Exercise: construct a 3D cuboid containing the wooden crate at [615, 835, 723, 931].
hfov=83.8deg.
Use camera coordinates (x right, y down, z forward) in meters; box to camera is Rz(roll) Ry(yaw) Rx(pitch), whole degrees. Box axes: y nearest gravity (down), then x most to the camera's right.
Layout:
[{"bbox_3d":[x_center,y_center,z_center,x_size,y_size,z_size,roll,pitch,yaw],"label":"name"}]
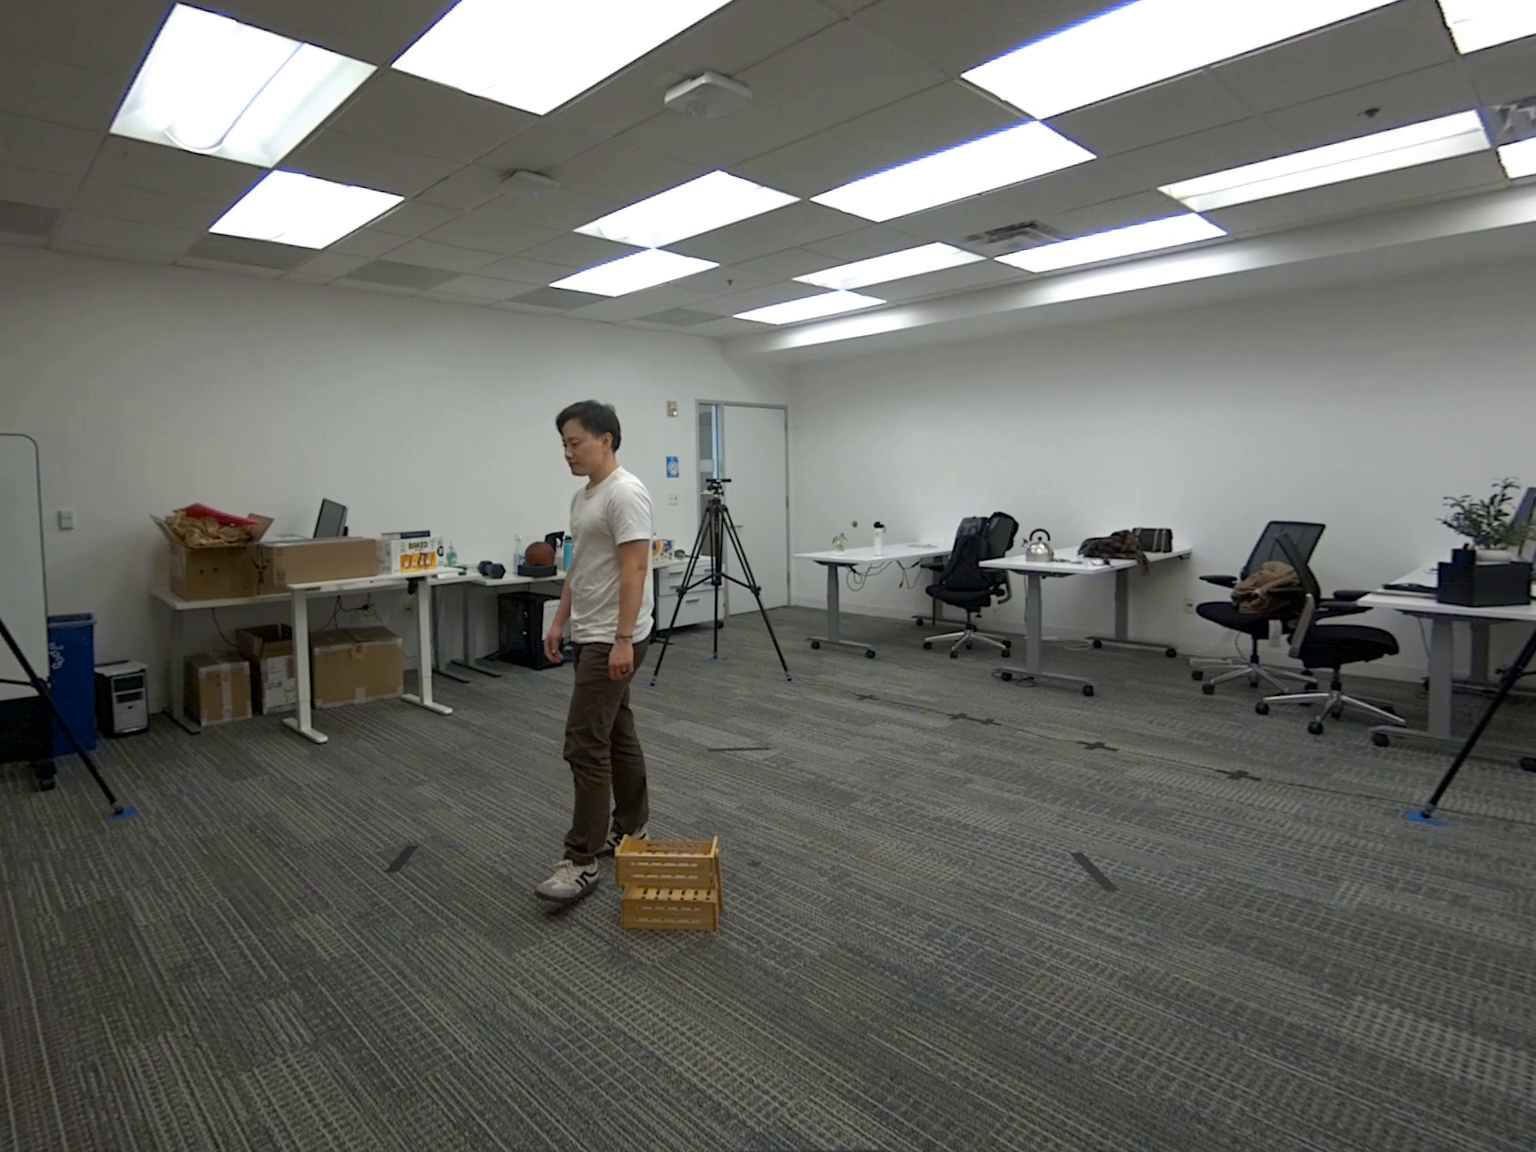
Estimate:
[{"bbox_3d":[-0.309,0.956,2.753,0.326,0.272,0.302,-1,5,3],"label":"wooden crate"}]
